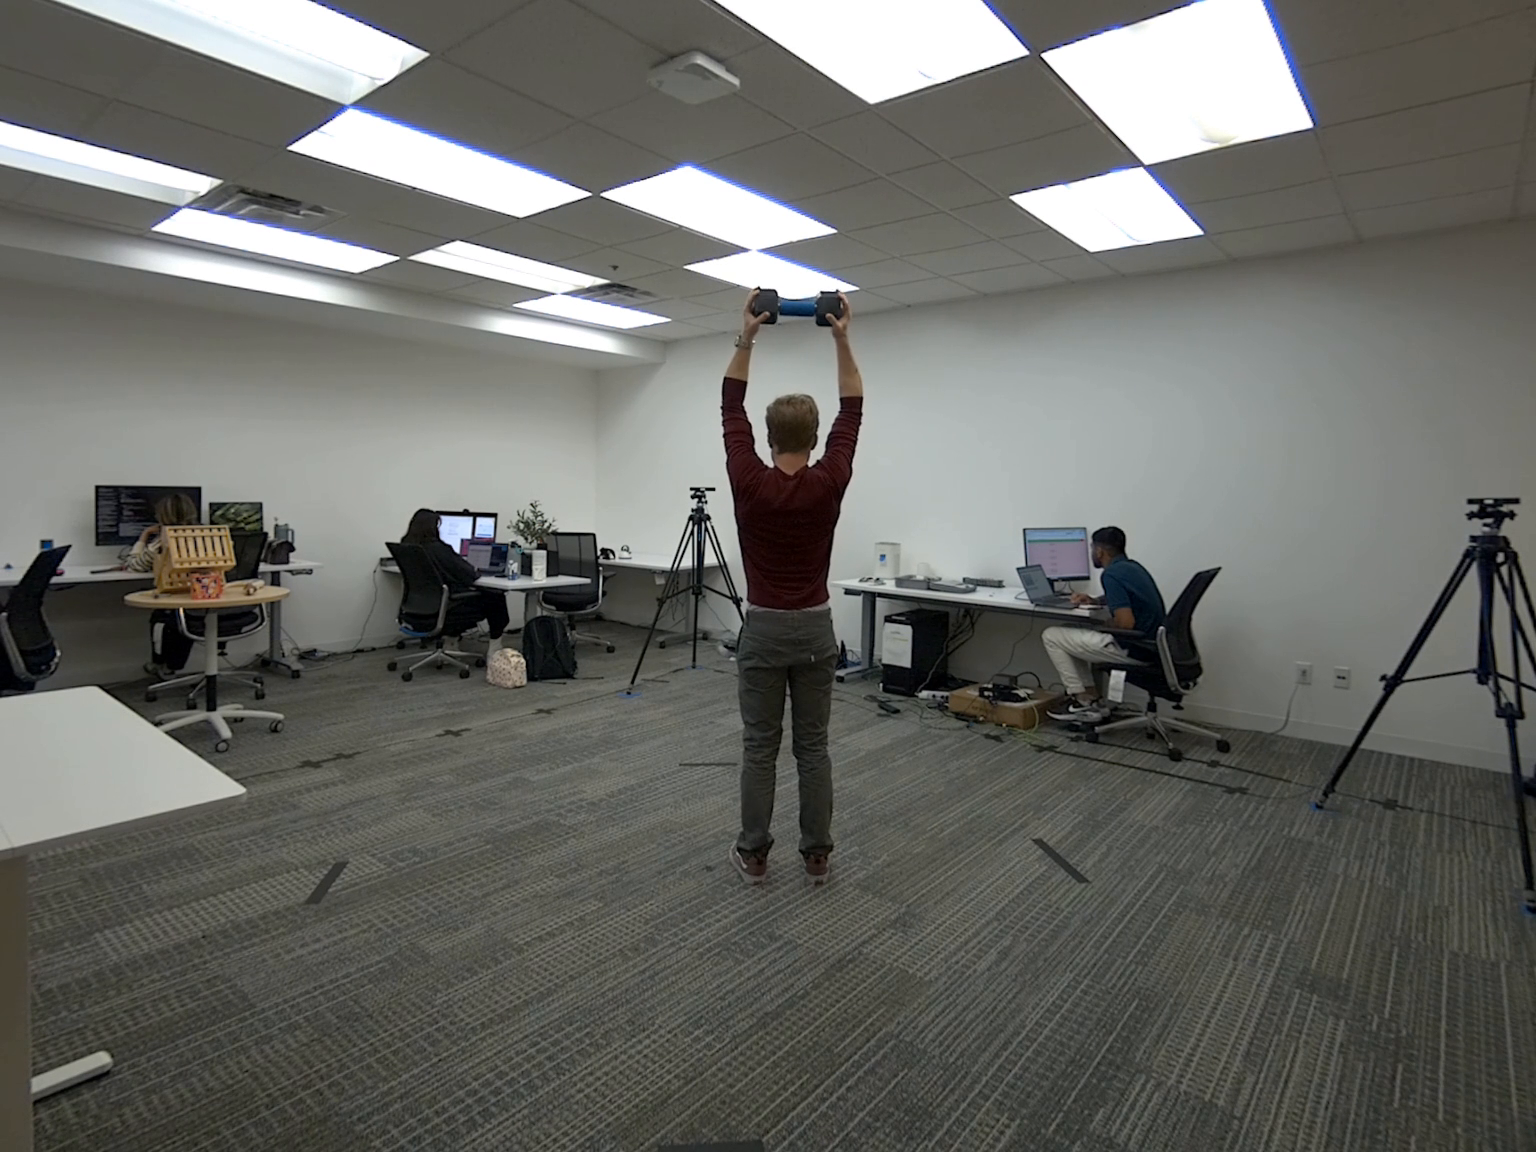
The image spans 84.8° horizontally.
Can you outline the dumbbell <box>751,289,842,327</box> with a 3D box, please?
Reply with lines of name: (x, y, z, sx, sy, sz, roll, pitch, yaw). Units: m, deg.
dumbbell: (0.093, -0.915, 2.927, 0.293, 0.106, 0.126, 2, 34, 0)
